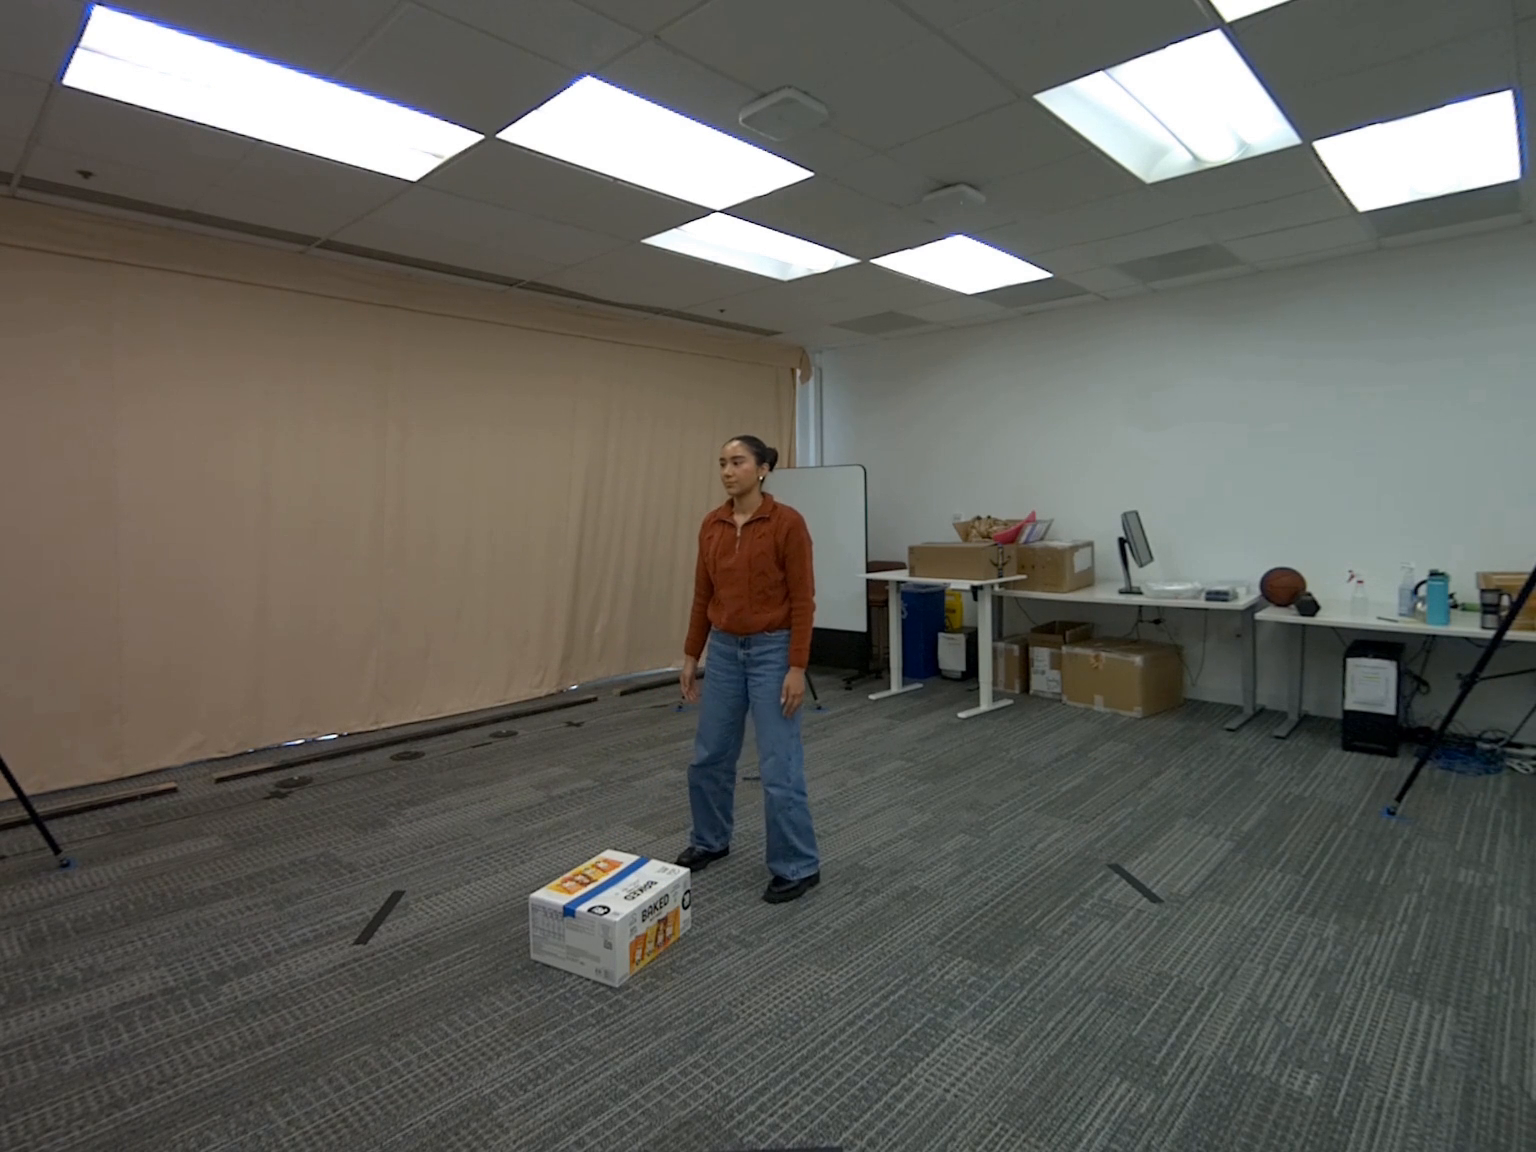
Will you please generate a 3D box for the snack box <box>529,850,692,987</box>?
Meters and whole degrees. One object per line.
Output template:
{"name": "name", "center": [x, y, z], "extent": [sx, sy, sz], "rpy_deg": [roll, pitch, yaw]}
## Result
{"name": "snack box", "center": [-0.495, 1.070, 2.685], "extent": [0.350, 0.205, 0.395], "rpy_deg": [1, 5, 29]}
